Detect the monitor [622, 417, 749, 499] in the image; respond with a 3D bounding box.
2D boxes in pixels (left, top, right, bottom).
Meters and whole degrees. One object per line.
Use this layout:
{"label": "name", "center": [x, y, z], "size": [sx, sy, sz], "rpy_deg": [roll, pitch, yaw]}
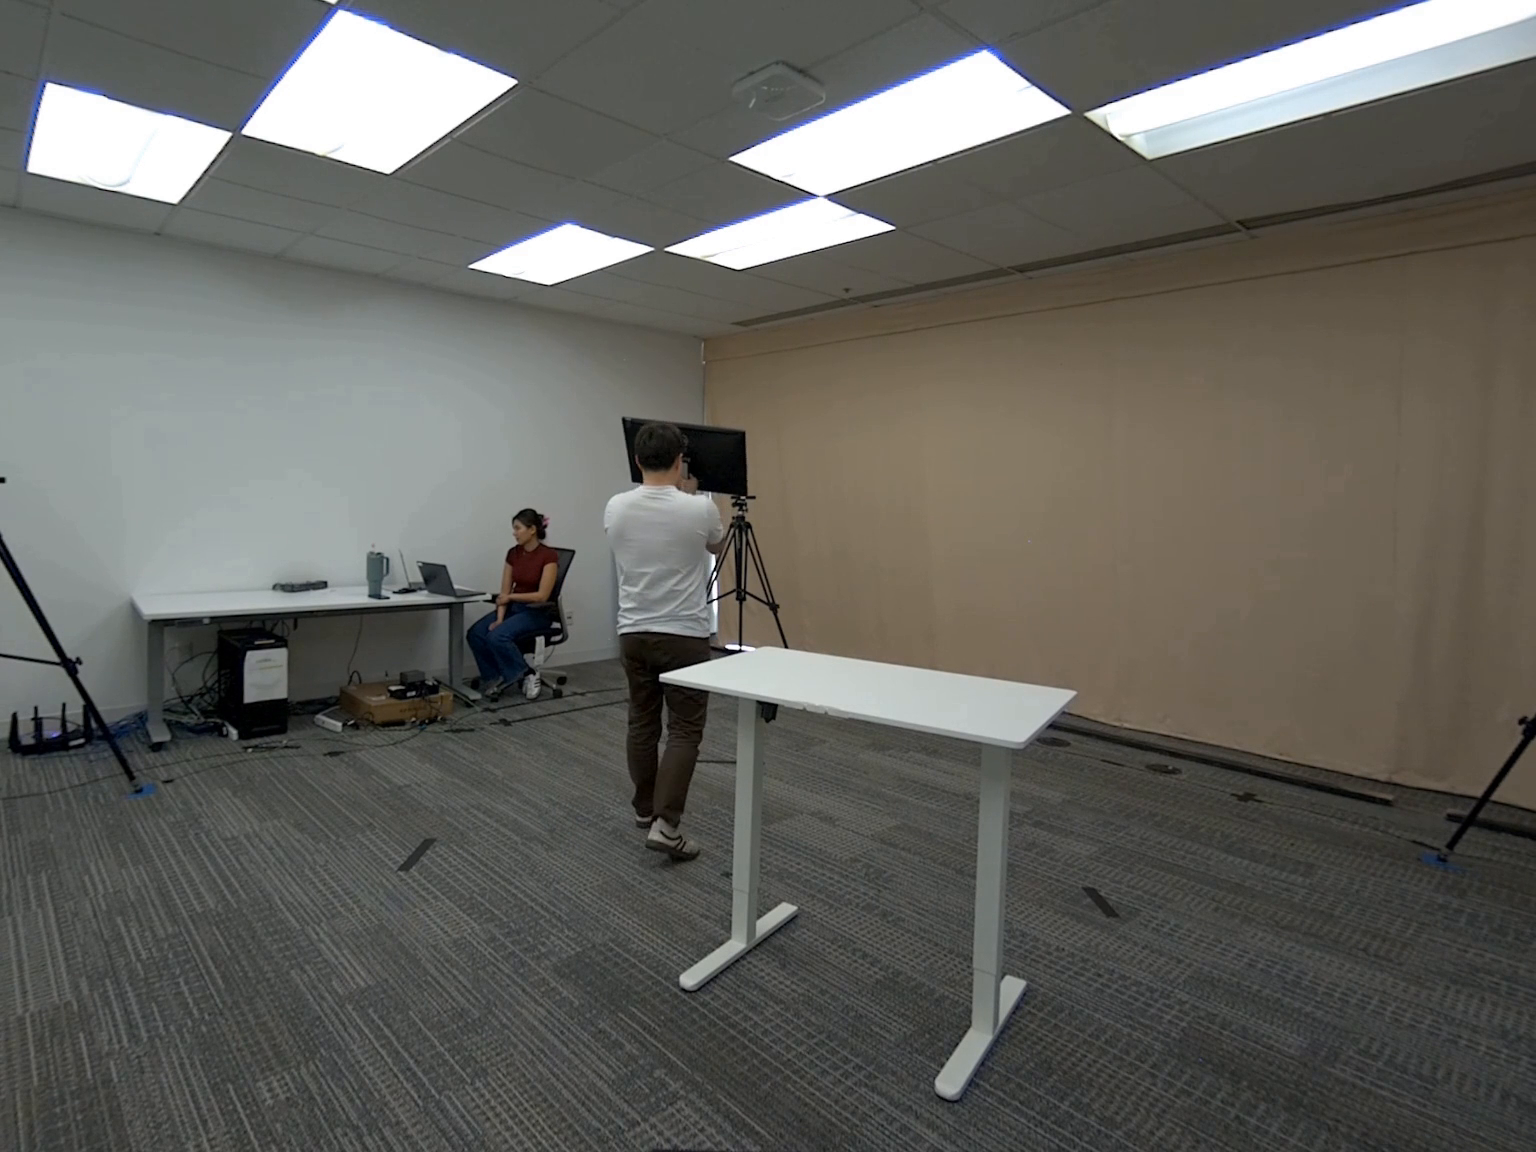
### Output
{"label": "monitor", "center": [-0.366, -0.413, 3.629], "size": [0.543, 0.513, 0.189], "rpy_deg": [7, 30, 9]}
